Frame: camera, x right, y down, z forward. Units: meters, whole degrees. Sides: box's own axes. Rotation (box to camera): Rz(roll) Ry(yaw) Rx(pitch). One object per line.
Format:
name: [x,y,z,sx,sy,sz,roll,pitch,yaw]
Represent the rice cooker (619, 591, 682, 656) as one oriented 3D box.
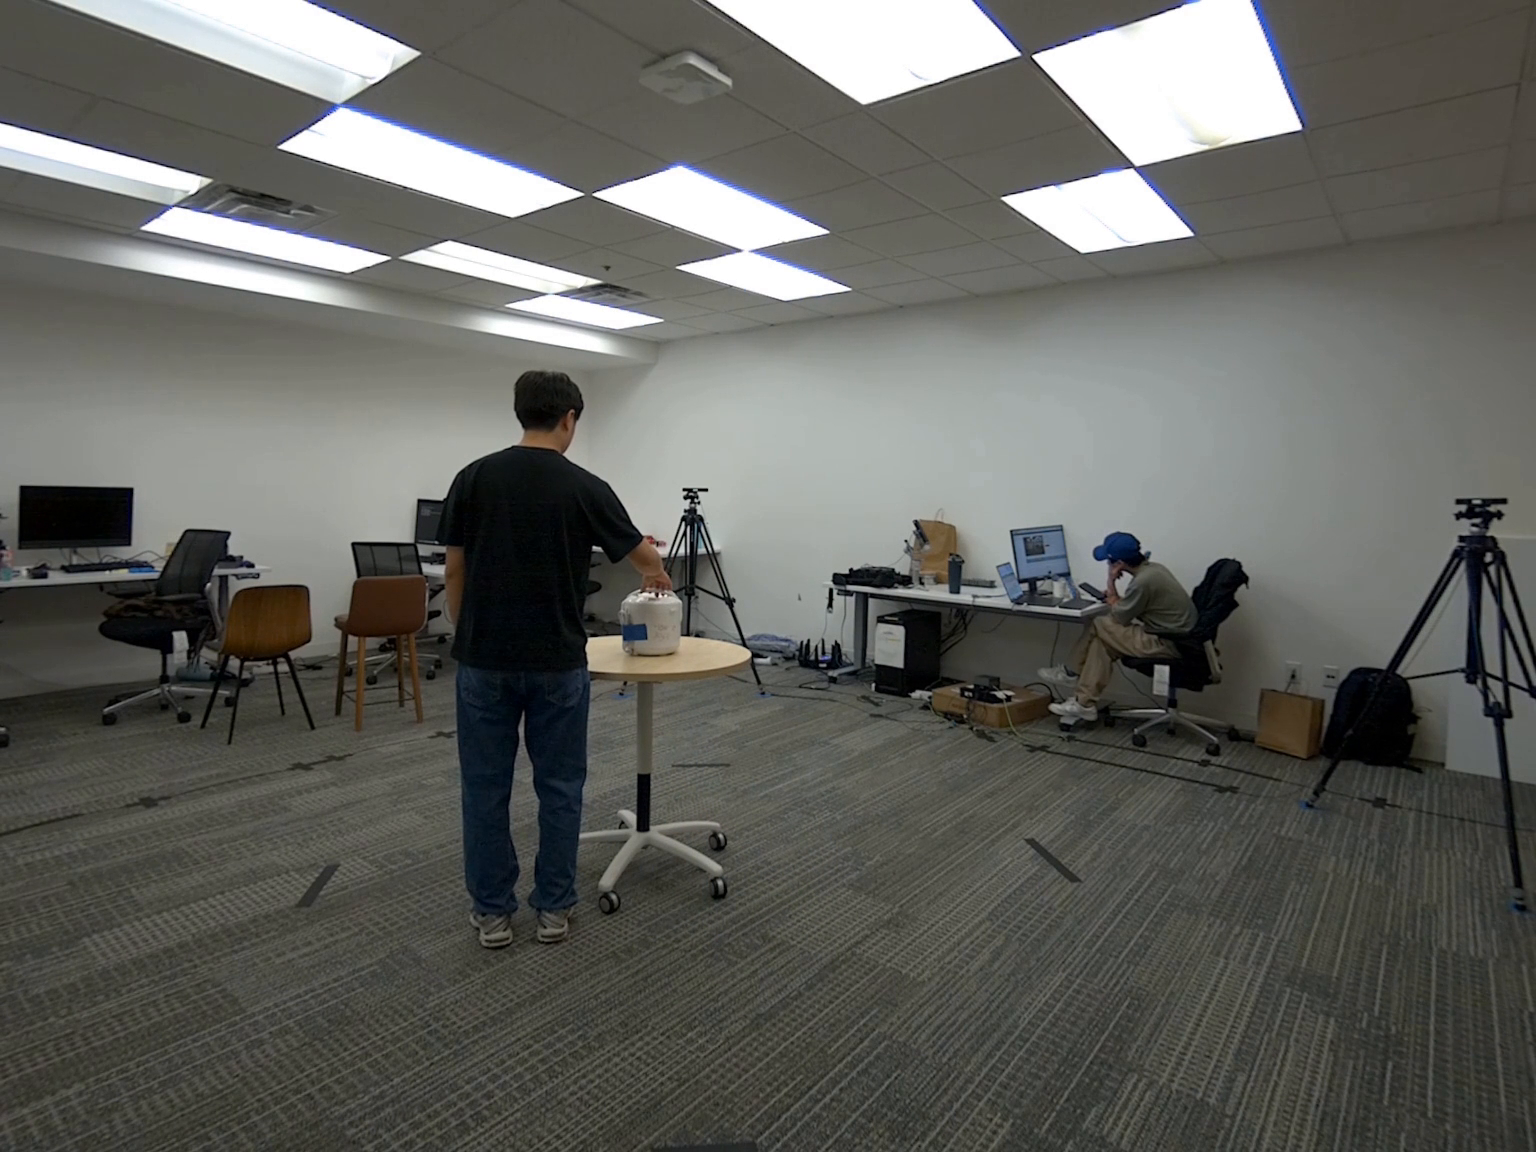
rice cooker: [-0.430,0.158,3.078,0.221,0.232,0.218,0,5,1]
